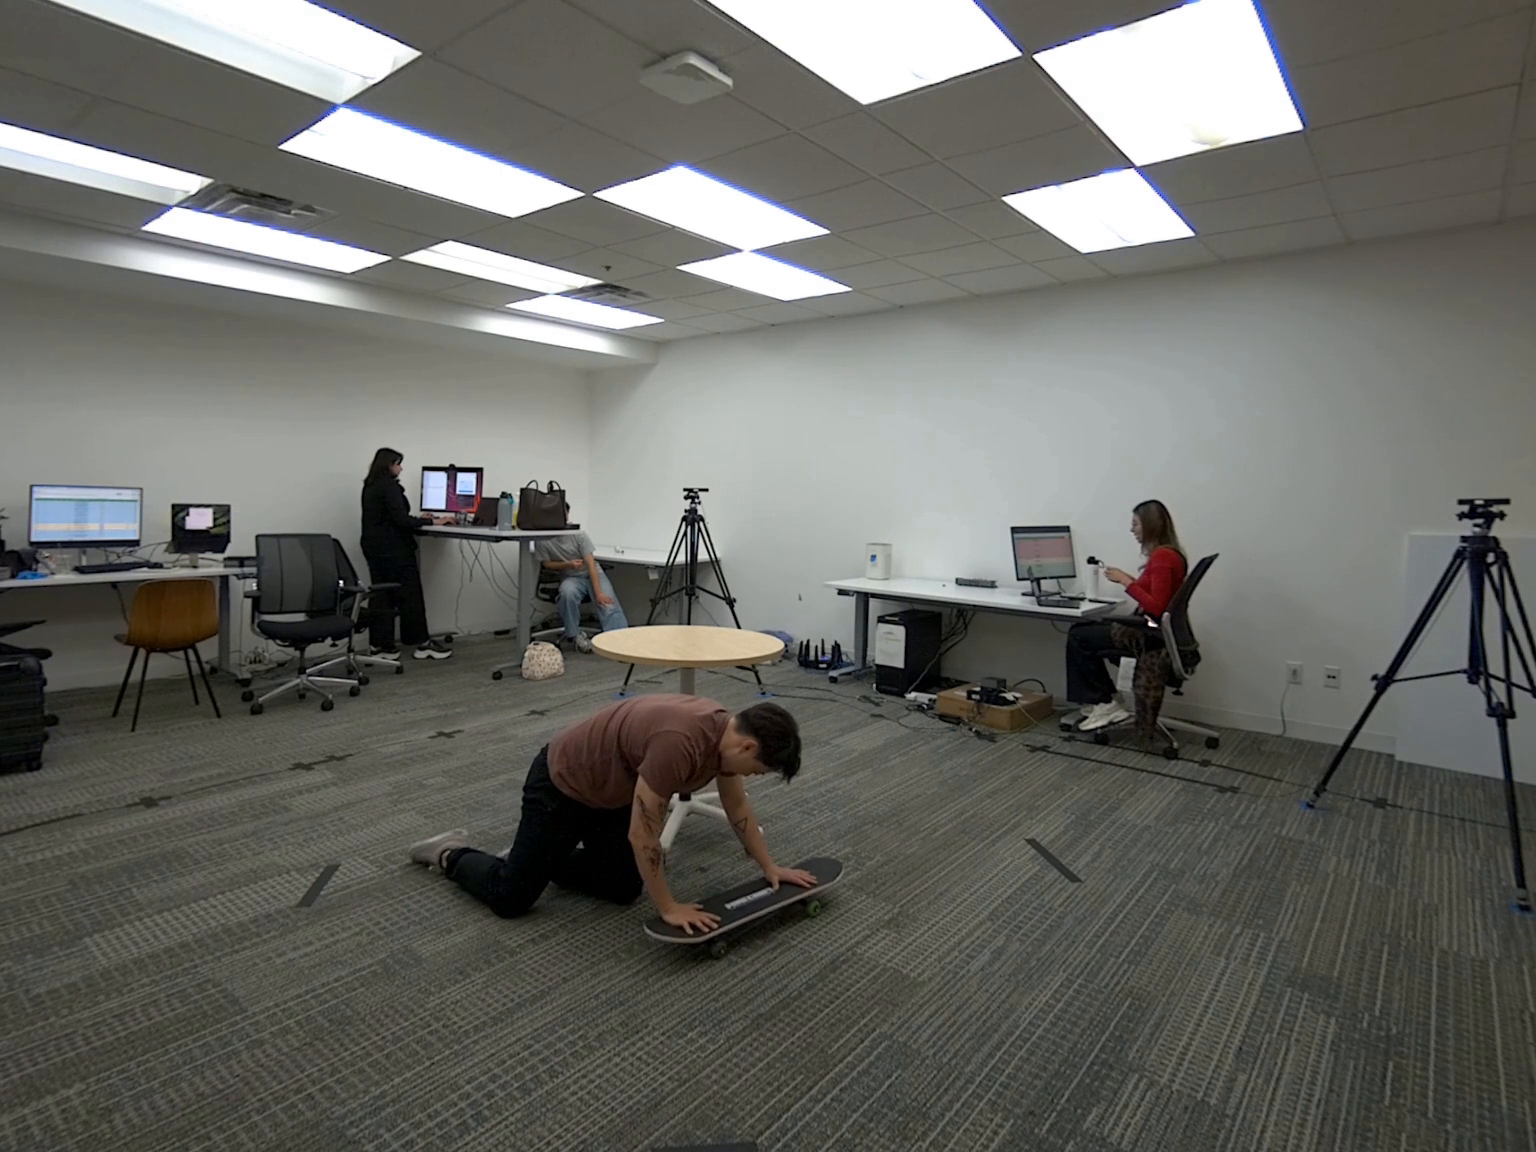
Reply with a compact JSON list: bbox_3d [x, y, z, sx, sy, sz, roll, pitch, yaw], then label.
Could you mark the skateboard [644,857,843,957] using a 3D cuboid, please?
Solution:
[{"bbox_3d":[-0.053,1.058,2.700,0.762,0.110,0.200,-5,6,-41],"label":"skateboard"}]
